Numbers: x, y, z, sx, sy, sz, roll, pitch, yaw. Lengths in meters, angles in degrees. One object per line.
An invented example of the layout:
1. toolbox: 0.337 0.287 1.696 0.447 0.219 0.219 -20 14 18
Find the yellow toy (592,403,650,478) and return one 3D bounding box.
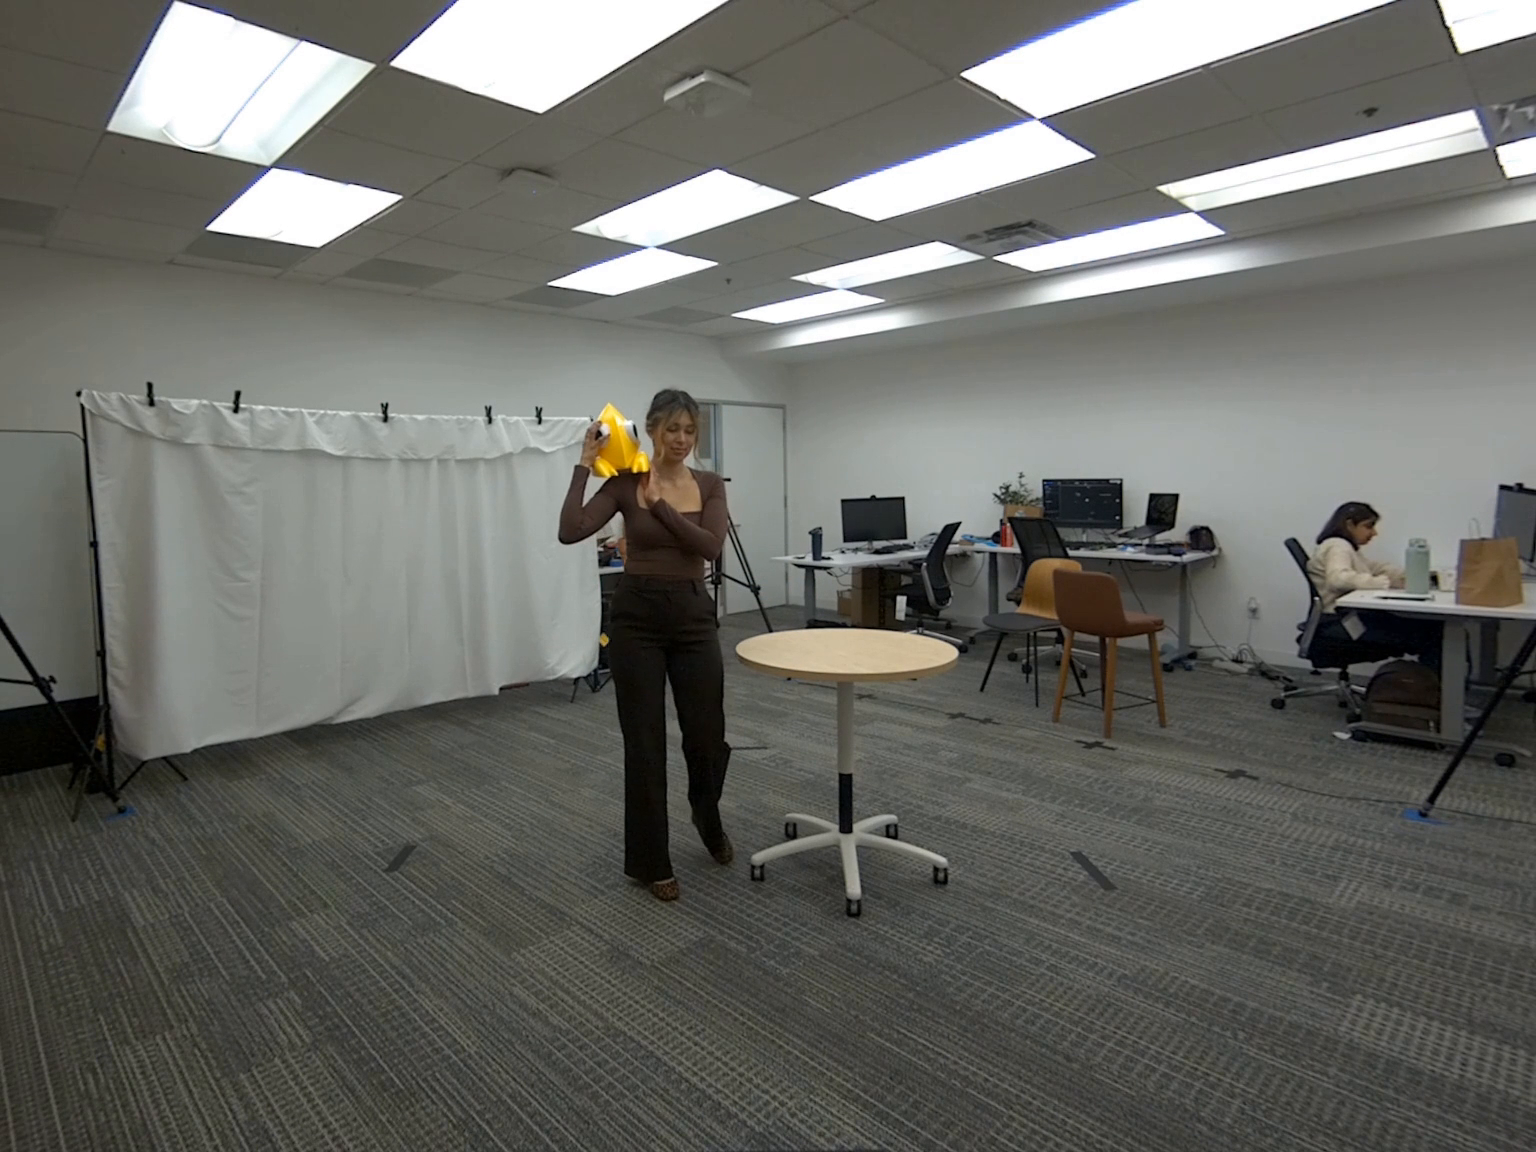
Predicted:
1. yellow toy: -0.509 -0.469 2.905 0.201 0.227 0.199 -10 16 -21
